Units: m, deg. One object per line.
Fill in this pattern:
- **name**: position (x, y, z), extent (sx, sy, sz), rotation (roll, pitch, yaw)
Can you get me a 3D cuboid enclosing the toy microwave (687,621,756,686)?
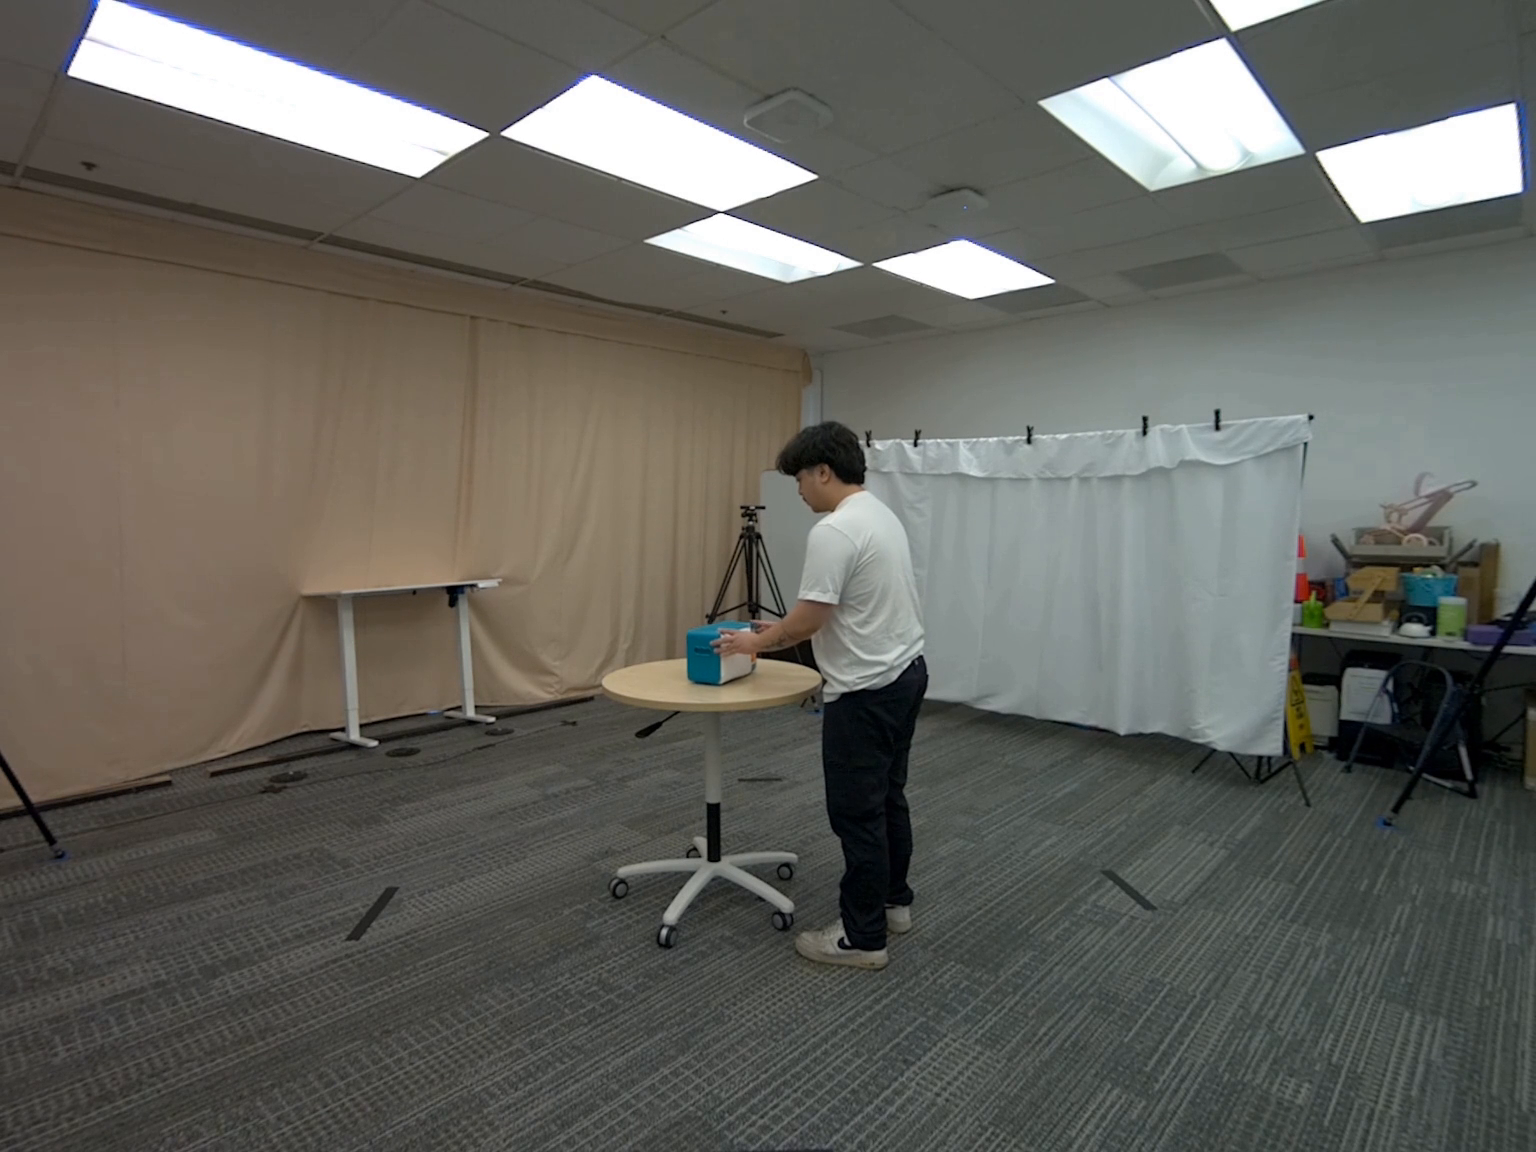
- **toy microwave**: position (-0.152, 0.265, 2.924), extent (0.156, 0.184, 0.279), rotation (1, 4, 28)
